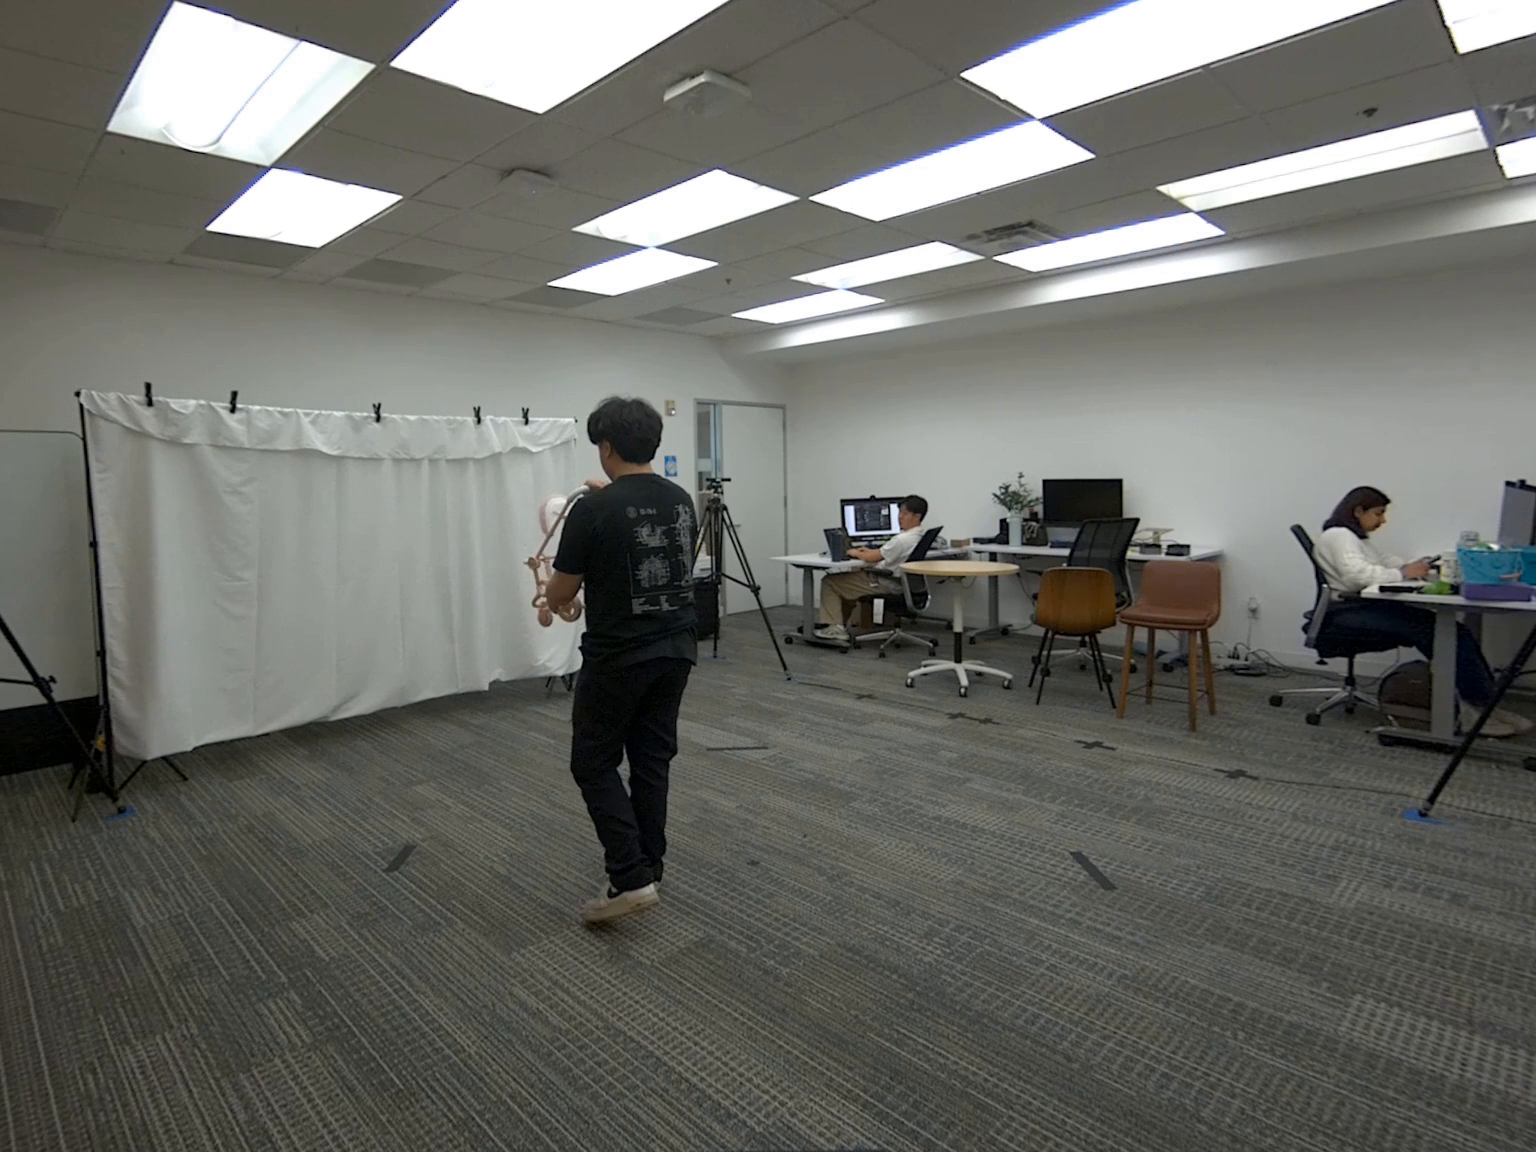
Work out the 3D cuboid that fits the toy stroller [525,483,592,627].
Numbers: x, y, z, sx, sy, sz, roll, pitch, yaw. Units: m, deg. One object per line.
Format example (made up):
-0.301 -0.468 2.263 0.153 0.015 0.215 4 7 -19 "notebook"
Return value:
-0.735 -0.066 3.150 0.351 0.532 0.275 0 7 34 "toy stroller"
